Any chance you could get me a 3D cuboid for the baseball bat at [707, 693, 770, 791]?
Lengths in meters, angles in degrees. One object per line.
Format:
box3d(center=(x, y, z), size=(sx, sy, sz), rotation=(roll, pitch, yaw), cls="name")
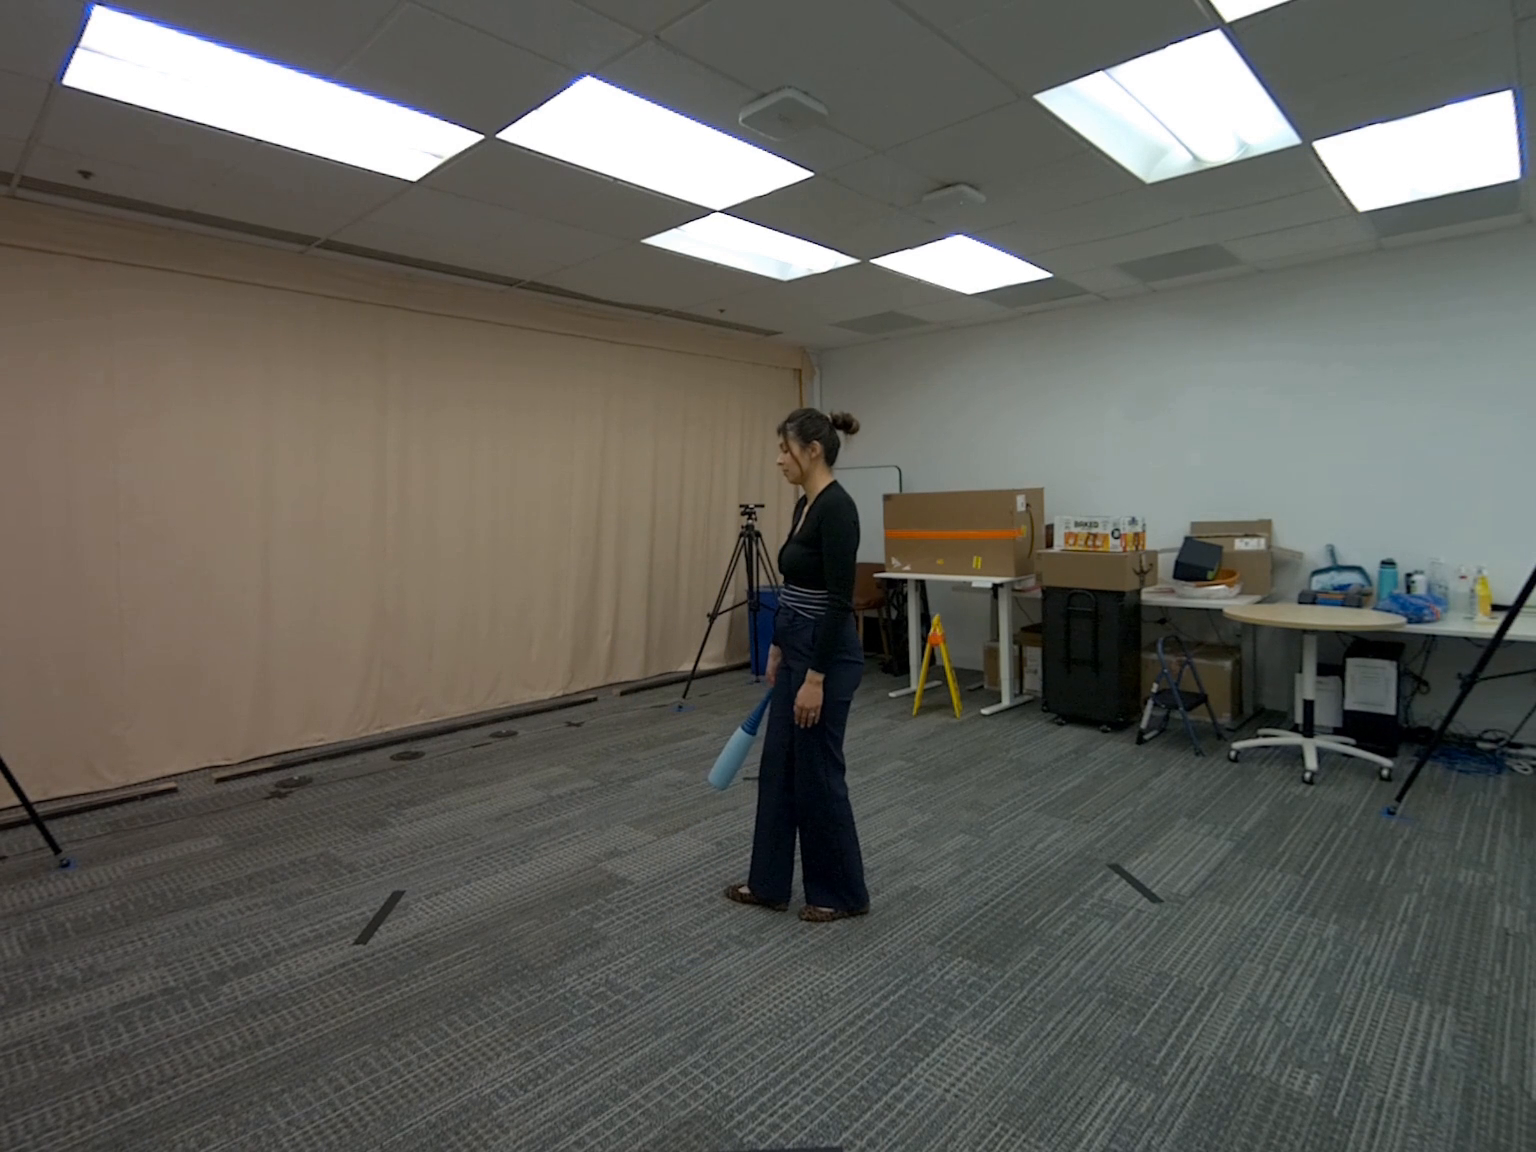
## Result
box3d(center=(-0.062, 0.566, 3.120), size=(0.088, 0.543, 0.090), rotation=(28, 13, -9), cls="baseball bat")
